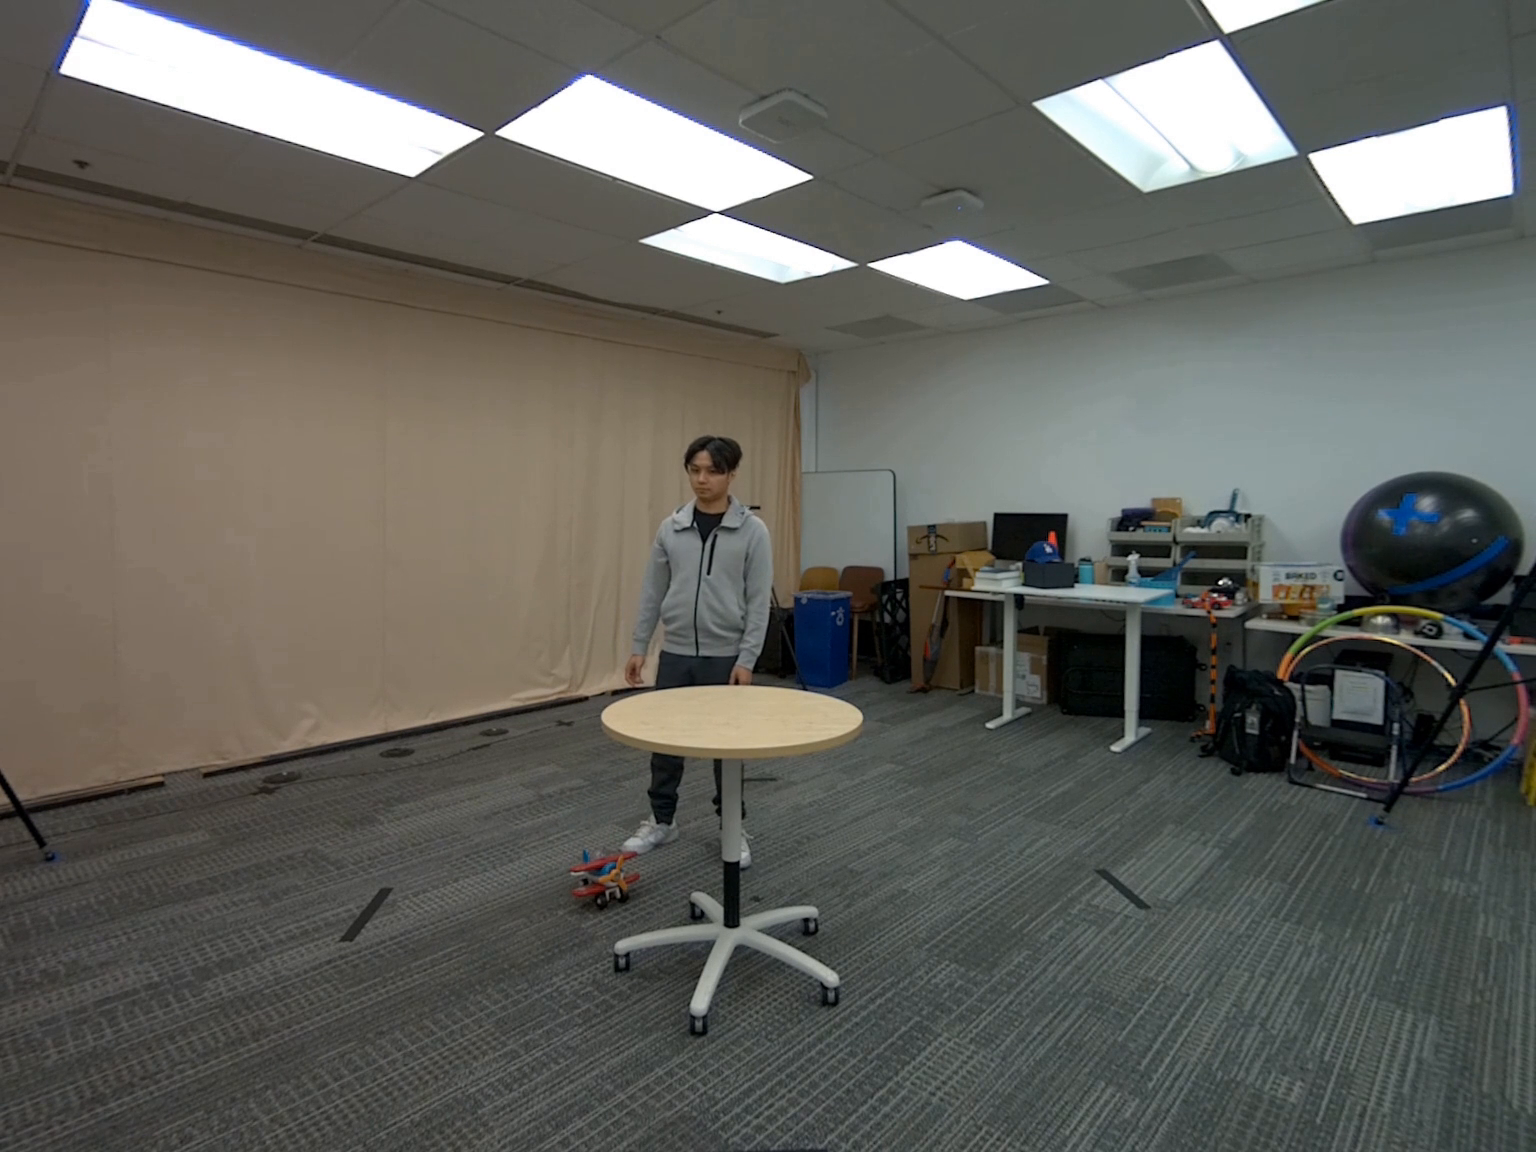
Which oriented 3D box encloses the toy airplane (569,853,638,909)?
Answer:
[{"bbox_3d":[-0.614,1.074,2.998,0.266,0.156,0.245,3,6,25],"label":"toy airplane"}]
